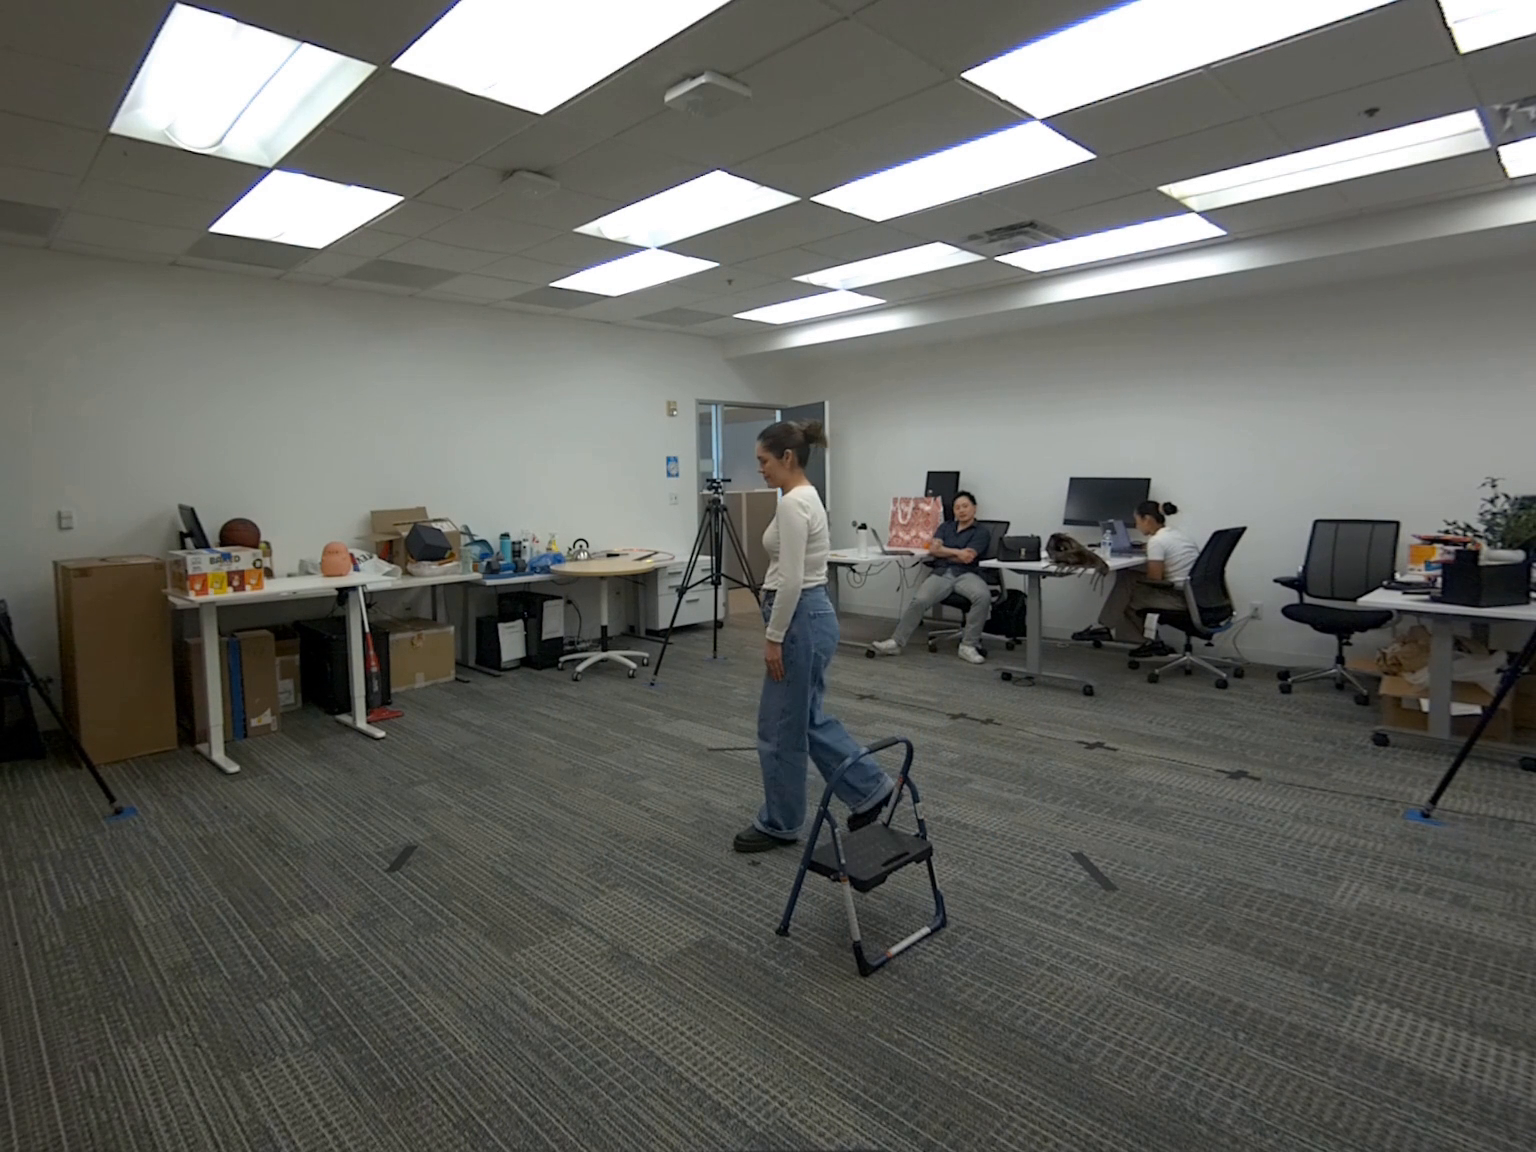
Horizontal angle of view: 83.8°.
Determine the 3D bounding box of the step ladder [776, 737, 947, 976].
[{"bbox_3d":[0.289,0.795,2.625,0.360,0.603,0.419,4,7,45],"label":"step ladder"}]
